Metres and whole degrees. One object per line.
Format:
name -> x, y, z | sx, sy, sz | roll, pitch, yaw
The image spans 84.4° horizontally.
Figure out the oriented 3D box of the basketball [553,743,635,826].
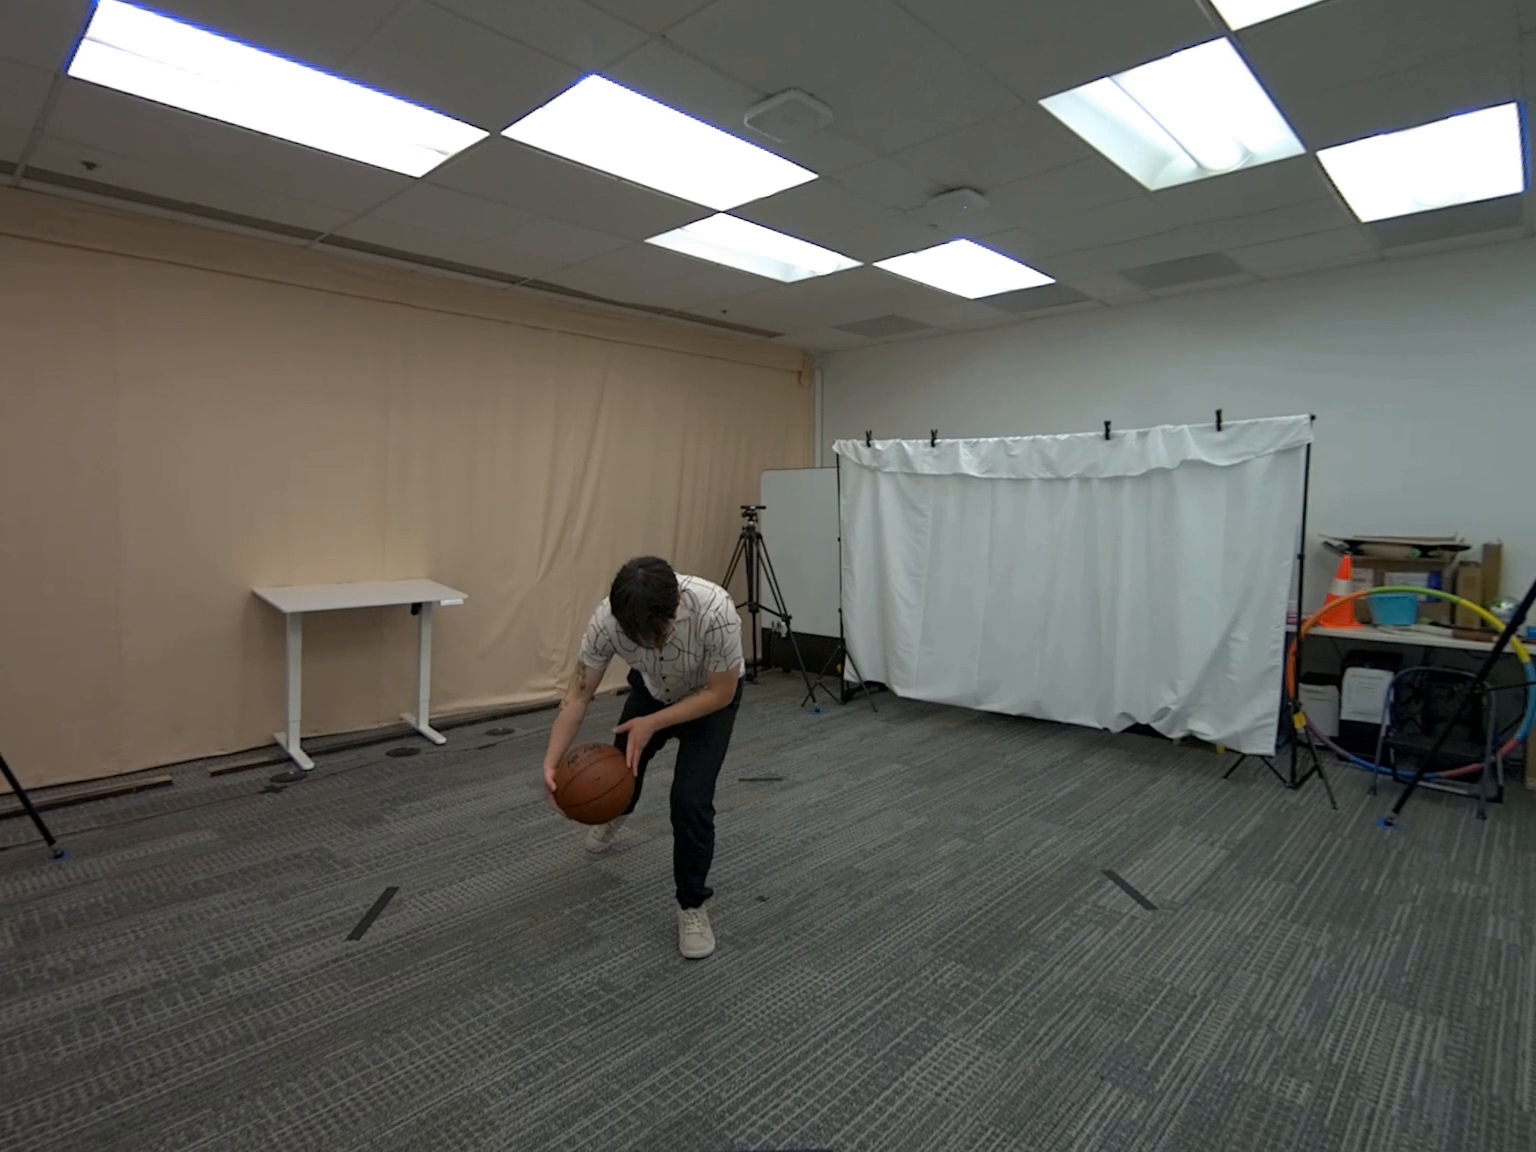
basketball -> -0.516, 0.621, 2.527 | 0.236, 0.235, 0.237 | 0, 4, -2
